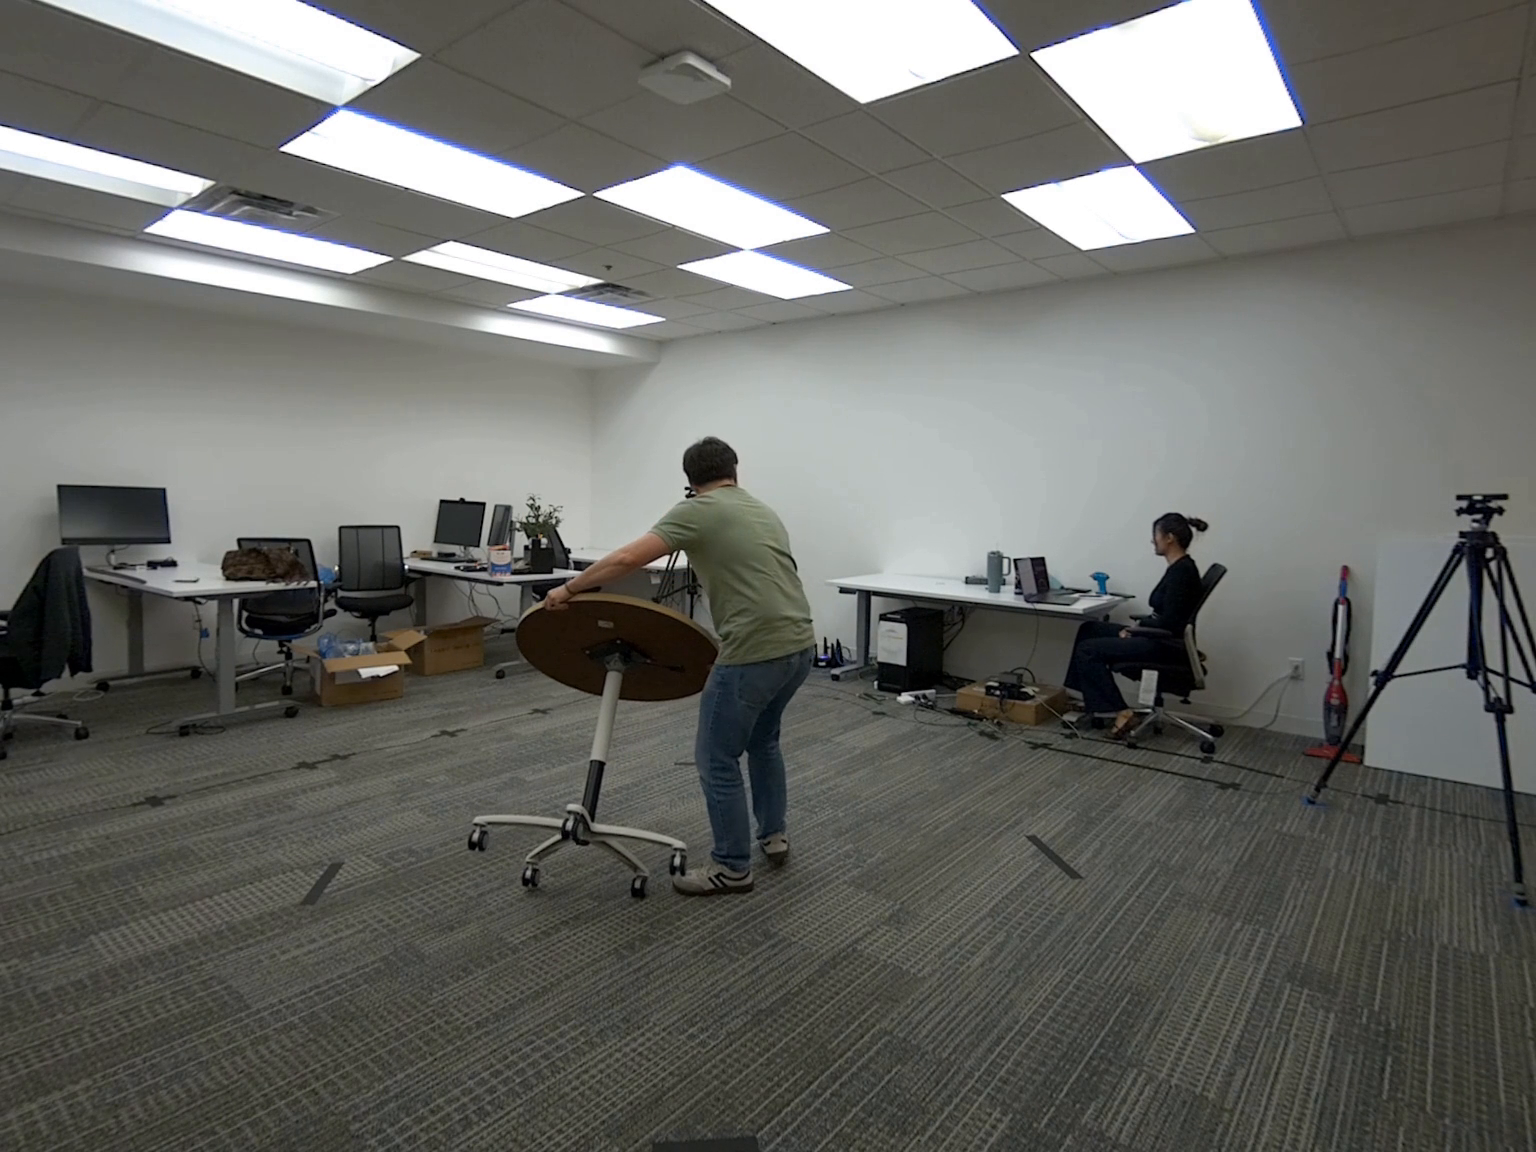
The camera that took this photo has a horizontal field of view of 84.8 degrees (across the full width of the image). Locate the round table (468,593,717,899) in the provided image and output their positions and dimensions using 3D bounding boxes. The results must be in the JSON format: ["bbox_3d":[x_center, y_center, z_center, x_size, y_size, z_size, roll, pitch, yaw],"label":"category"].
[{"bbox_3d":[-0.586,0.596,2.905,0.766,0.813,0.744,4,-34,1],"label":"round table"}]
